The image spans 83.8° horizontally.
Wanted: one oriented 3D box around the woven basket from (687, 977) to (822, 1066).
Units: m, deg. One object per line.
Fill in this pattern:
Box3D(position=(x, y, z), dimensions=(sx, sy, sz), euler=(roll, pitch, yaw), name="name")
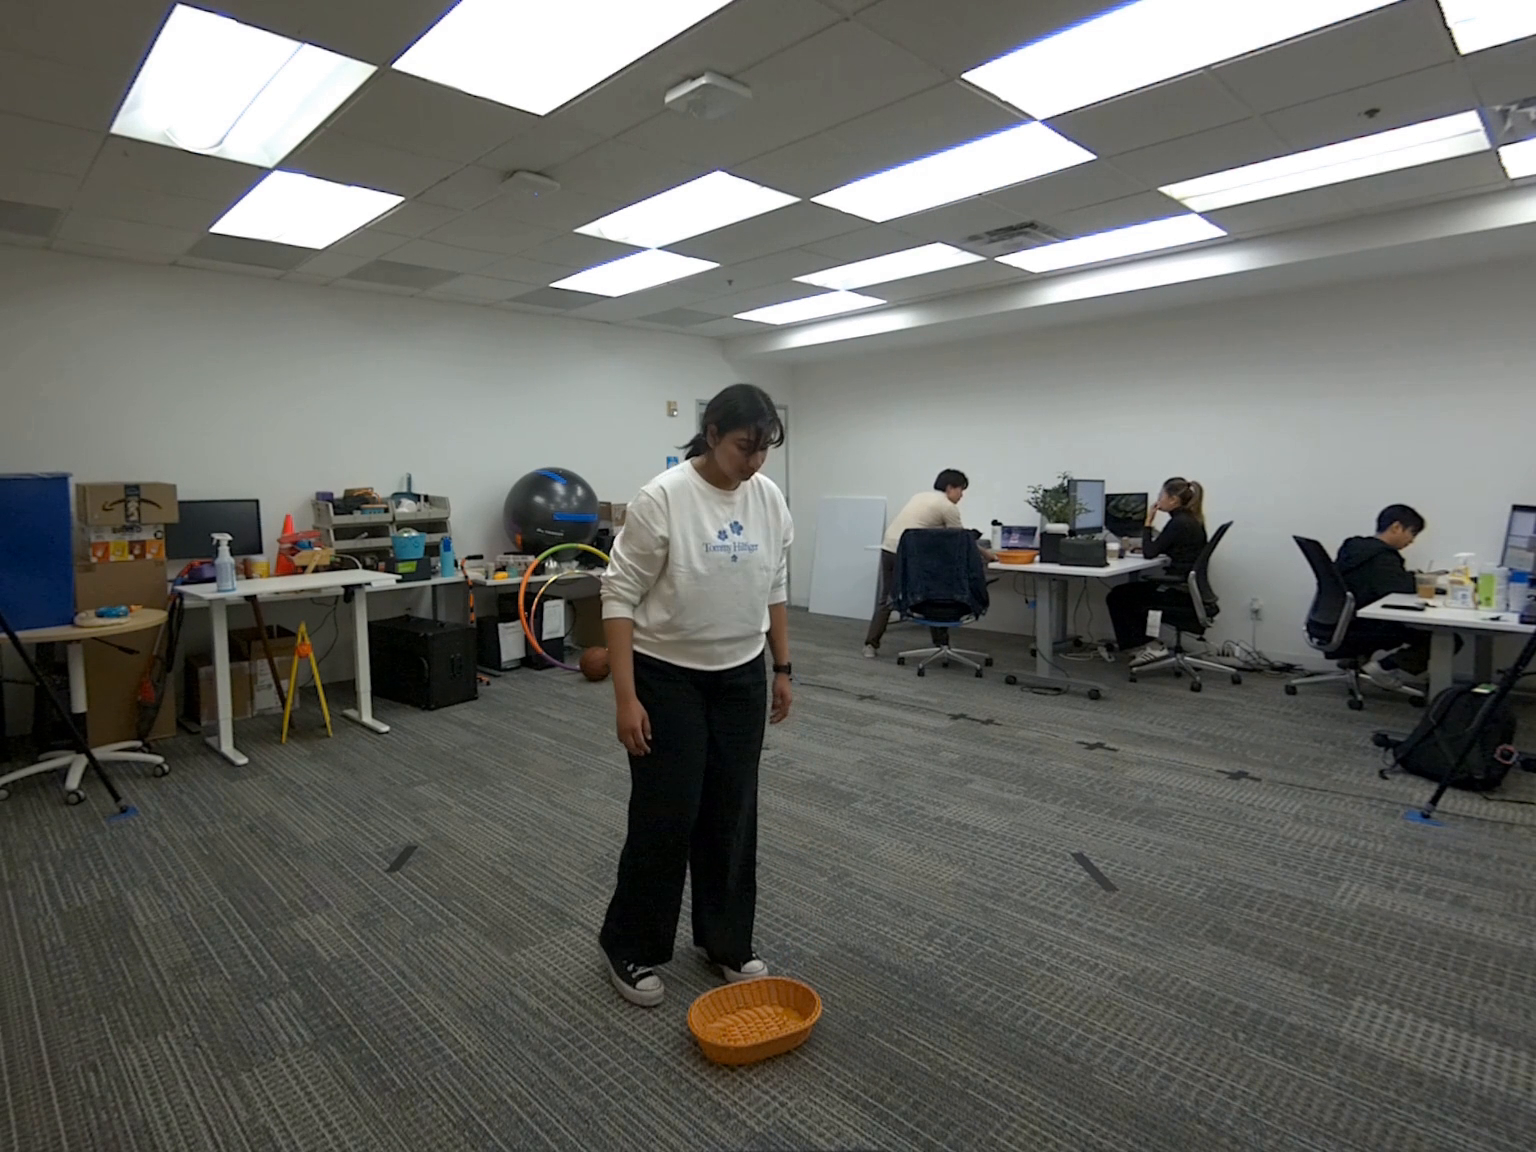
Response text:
Box3D(position=(-0.027, 1.123, 2.150), dimensions=(0.343, 0.073, 0.258), euler=(-5, 6, -24), name="woven basket")
